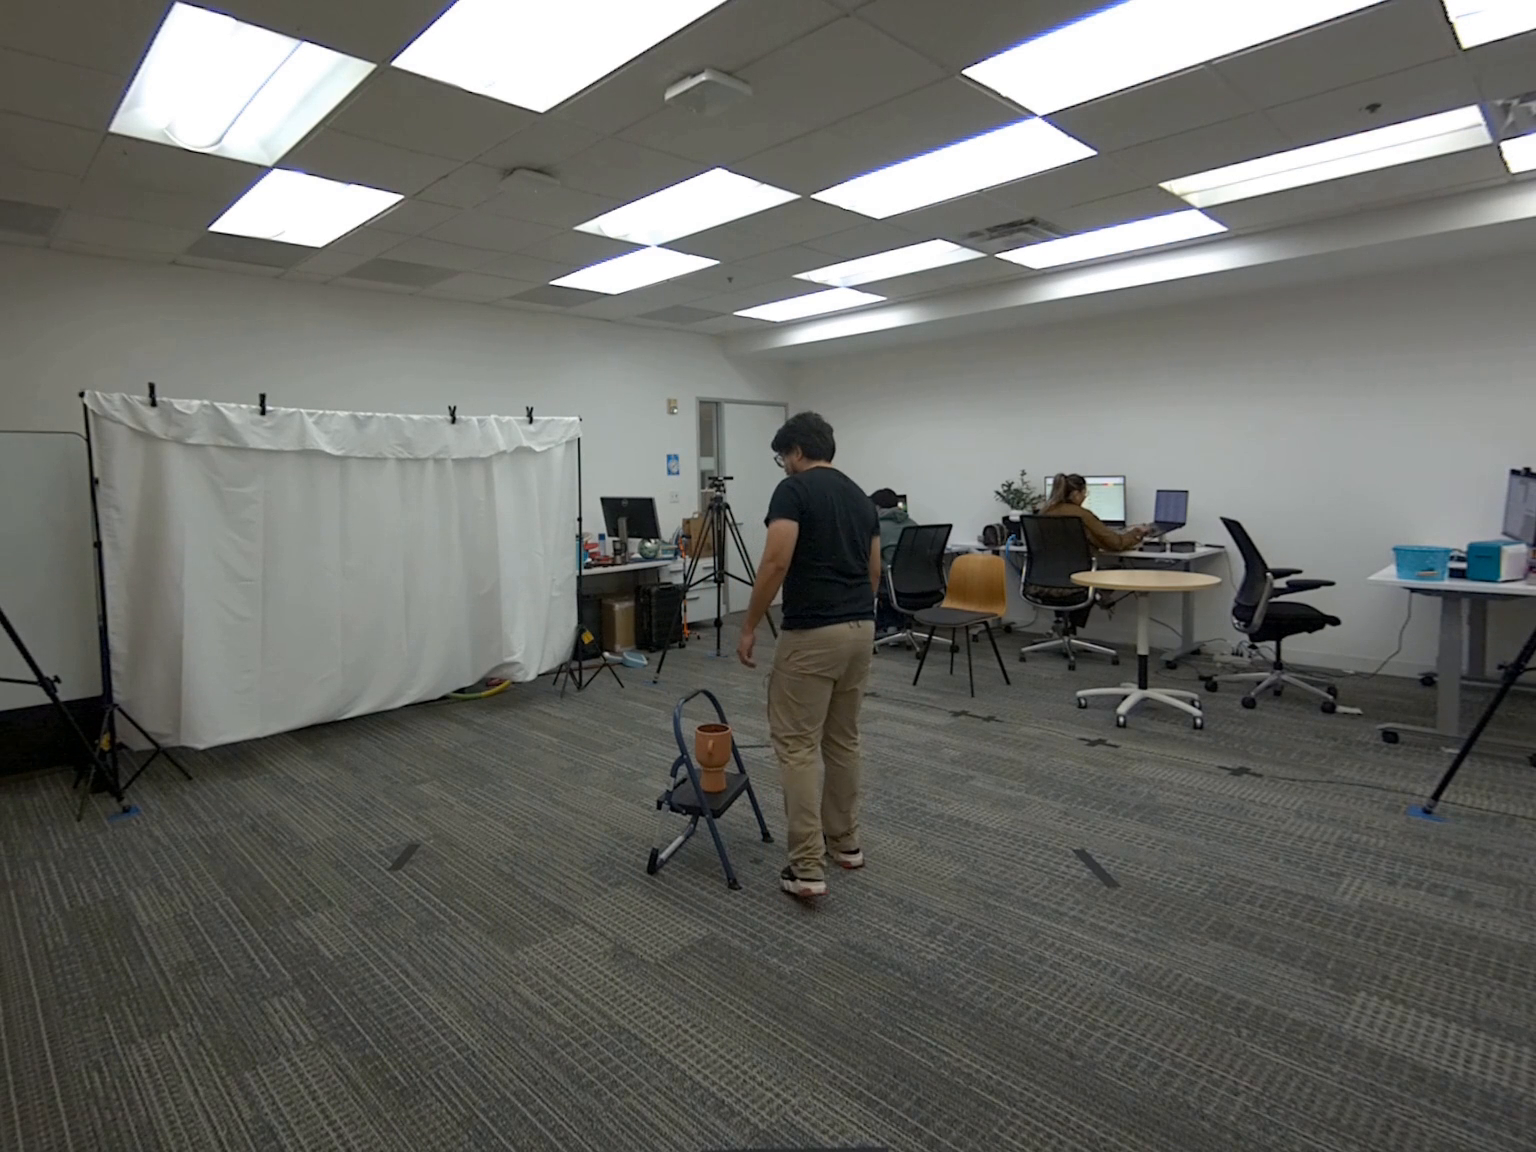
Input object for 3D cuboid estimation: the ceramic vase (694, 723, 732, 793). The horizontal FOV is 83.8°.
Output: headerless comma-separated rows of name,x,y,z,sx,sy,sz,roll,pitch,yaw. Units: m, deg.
ceramic vase,-0.193,0.667,3.124,0.139,0.219,0.154,5,6,44
